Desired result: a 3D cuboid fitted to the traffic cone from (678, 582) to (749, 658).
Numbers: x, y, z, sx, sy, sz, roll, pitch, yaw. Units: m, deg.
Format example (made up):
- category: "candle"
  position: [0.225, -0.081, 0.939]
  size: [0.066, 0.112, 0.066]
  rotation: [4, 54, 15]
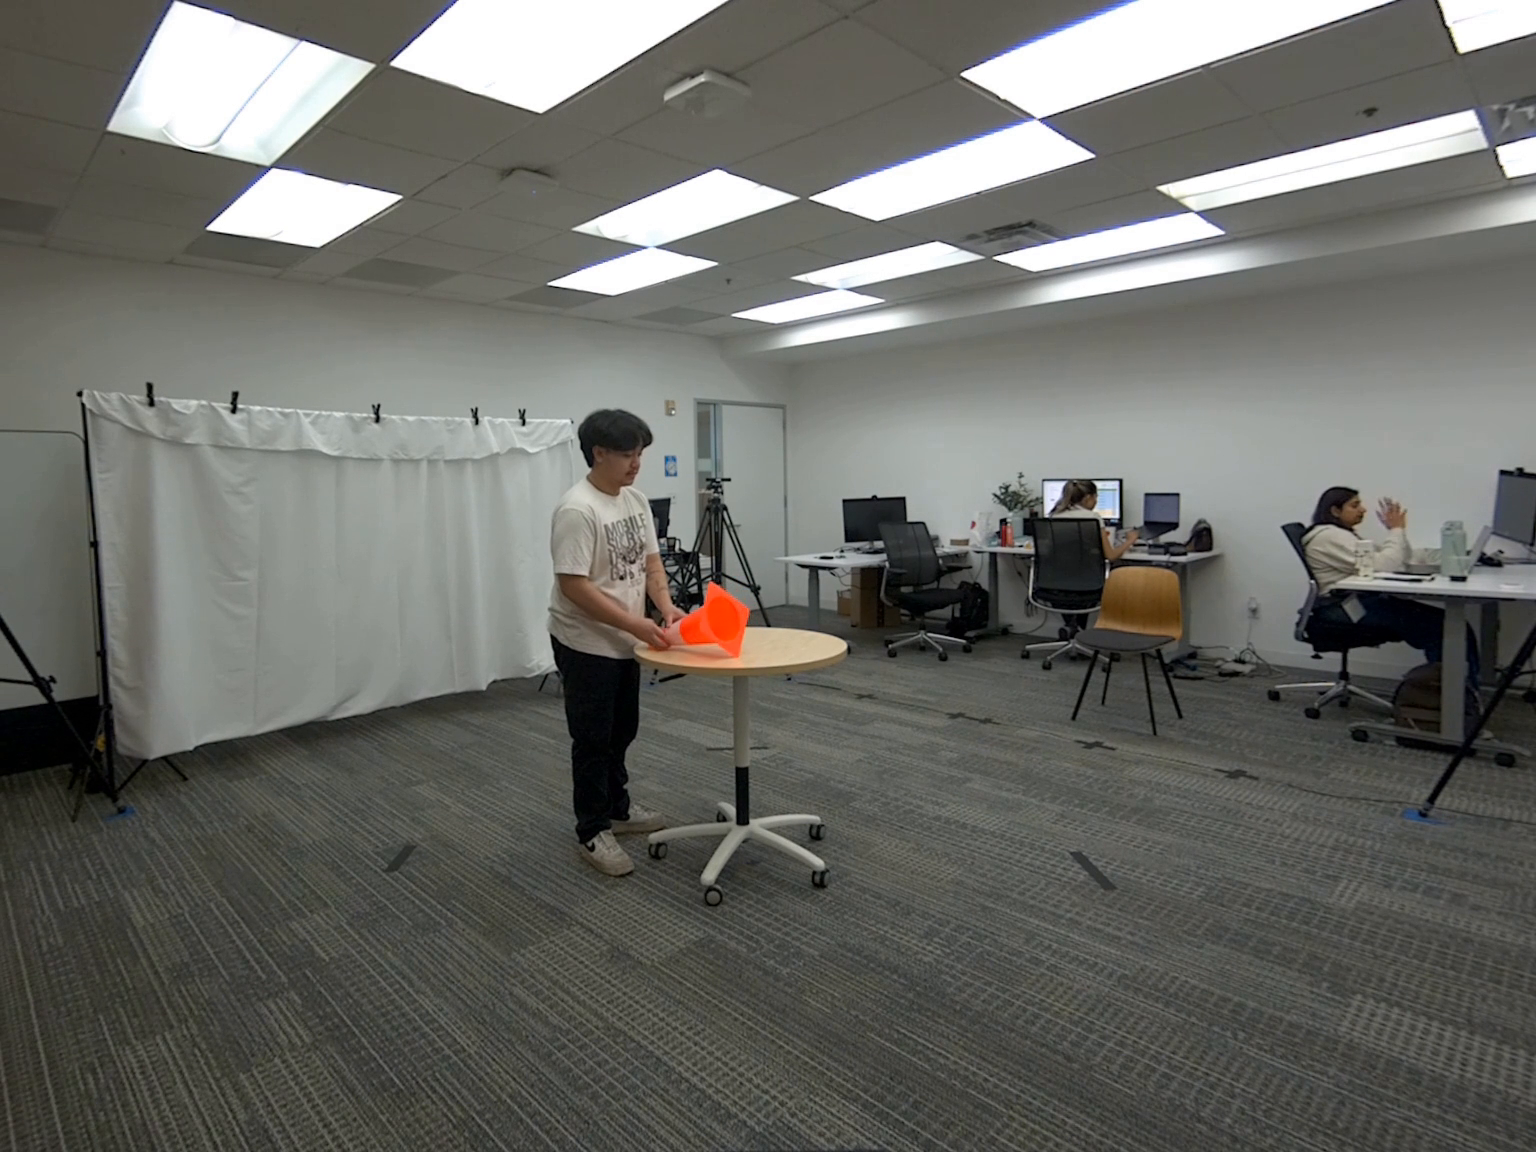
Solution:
- category: "traffic cone"
  position: [-0.285, 0.194, 2.986]
  size: [0.390, 0.208, 0.196]
  rotation: [-18, -46, 39]
